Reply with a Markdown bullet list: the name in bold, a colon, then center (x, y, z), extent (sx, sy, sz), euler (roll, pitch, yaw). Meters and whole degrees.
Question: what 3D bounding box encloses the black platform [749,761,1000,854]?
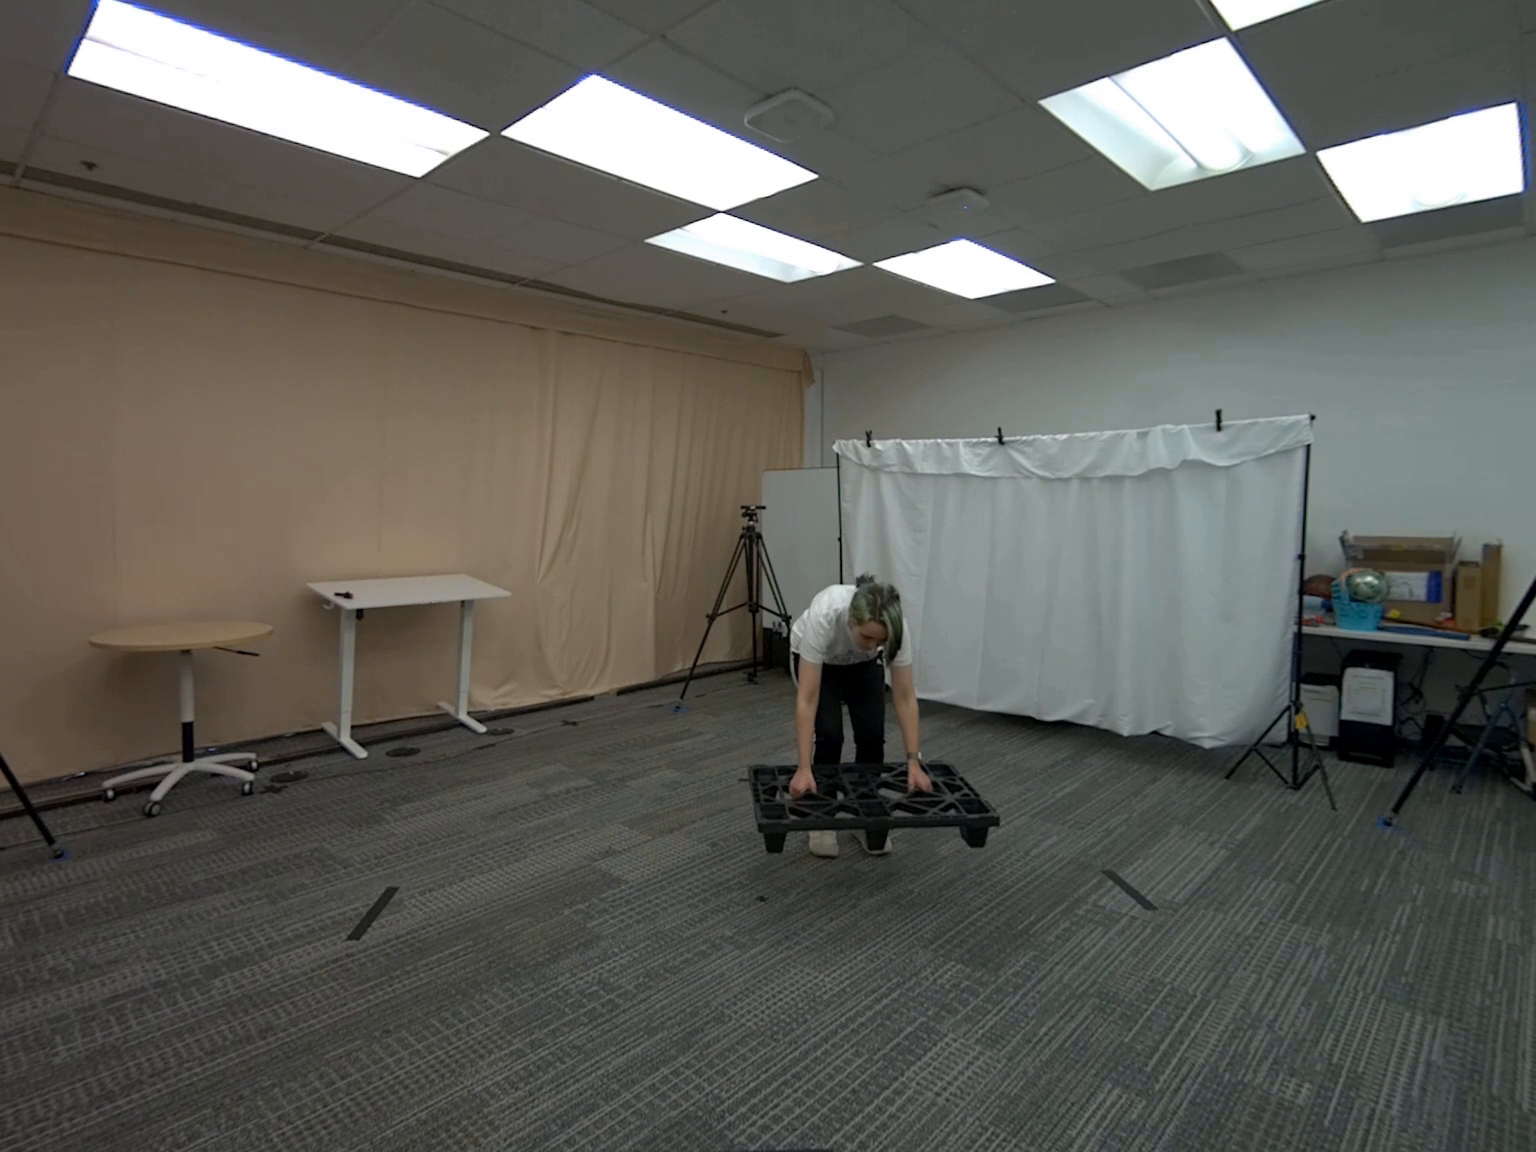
- **black platform**: center (0.341, 0.829, 3.046), extent (0.804, 0.143, 0.608), euler (-1, 4, -2)
